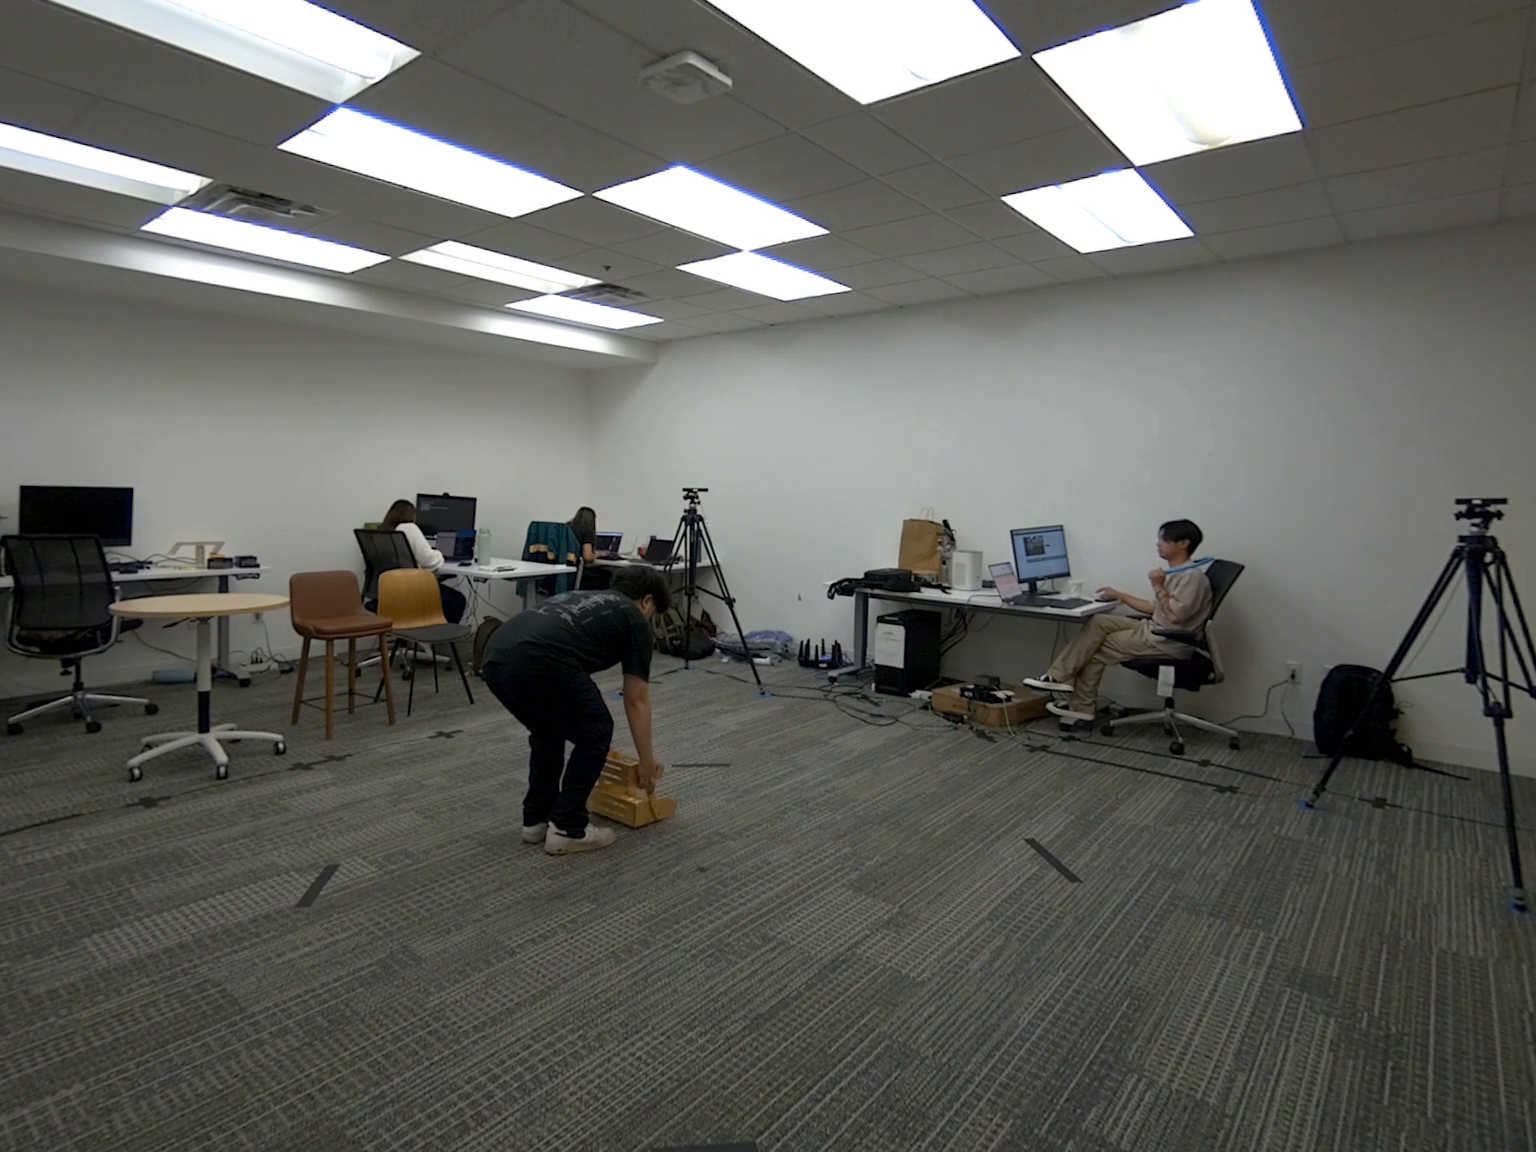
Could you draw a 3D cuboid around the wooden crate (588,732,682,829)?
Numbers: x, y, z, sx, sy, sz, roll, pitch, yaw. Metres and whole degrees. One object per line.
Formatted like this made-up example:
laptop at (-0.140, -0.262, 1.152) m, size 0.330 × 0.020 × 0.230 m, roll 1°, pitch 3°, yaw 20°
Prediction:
wooden crate at (-0.600, 0.863, 3.611) m, size 0.335 × 0.273 × 0.292 m, roll 5°, pitch 3°, yaw 38°
